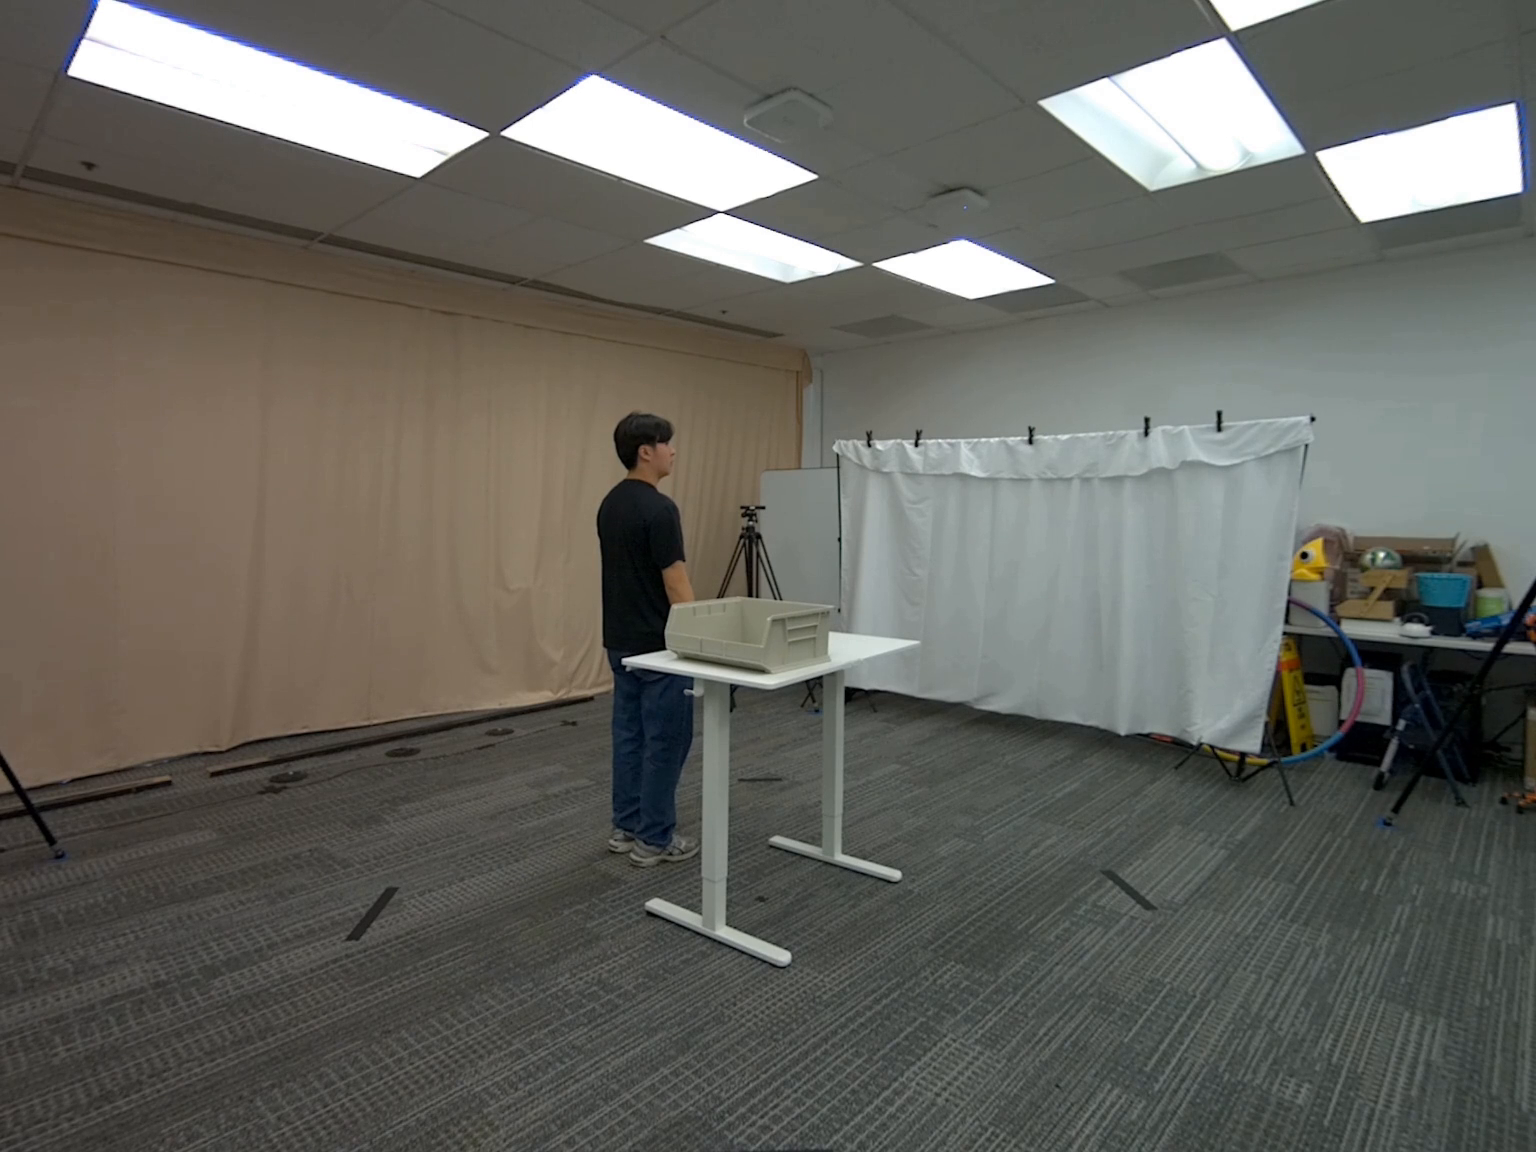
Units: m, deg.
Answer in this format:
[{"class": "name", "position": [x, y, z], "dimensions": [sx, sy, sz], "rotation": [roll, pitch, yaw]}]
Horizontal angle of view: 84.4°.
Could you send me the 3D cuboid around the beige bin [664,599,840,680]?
[{"class": "beige bin", "position": [-0.055, 0.192, 2.766], "dimensions": [0.436, 0.189, 0.365], "rotation": [3, 4, 40]}]
